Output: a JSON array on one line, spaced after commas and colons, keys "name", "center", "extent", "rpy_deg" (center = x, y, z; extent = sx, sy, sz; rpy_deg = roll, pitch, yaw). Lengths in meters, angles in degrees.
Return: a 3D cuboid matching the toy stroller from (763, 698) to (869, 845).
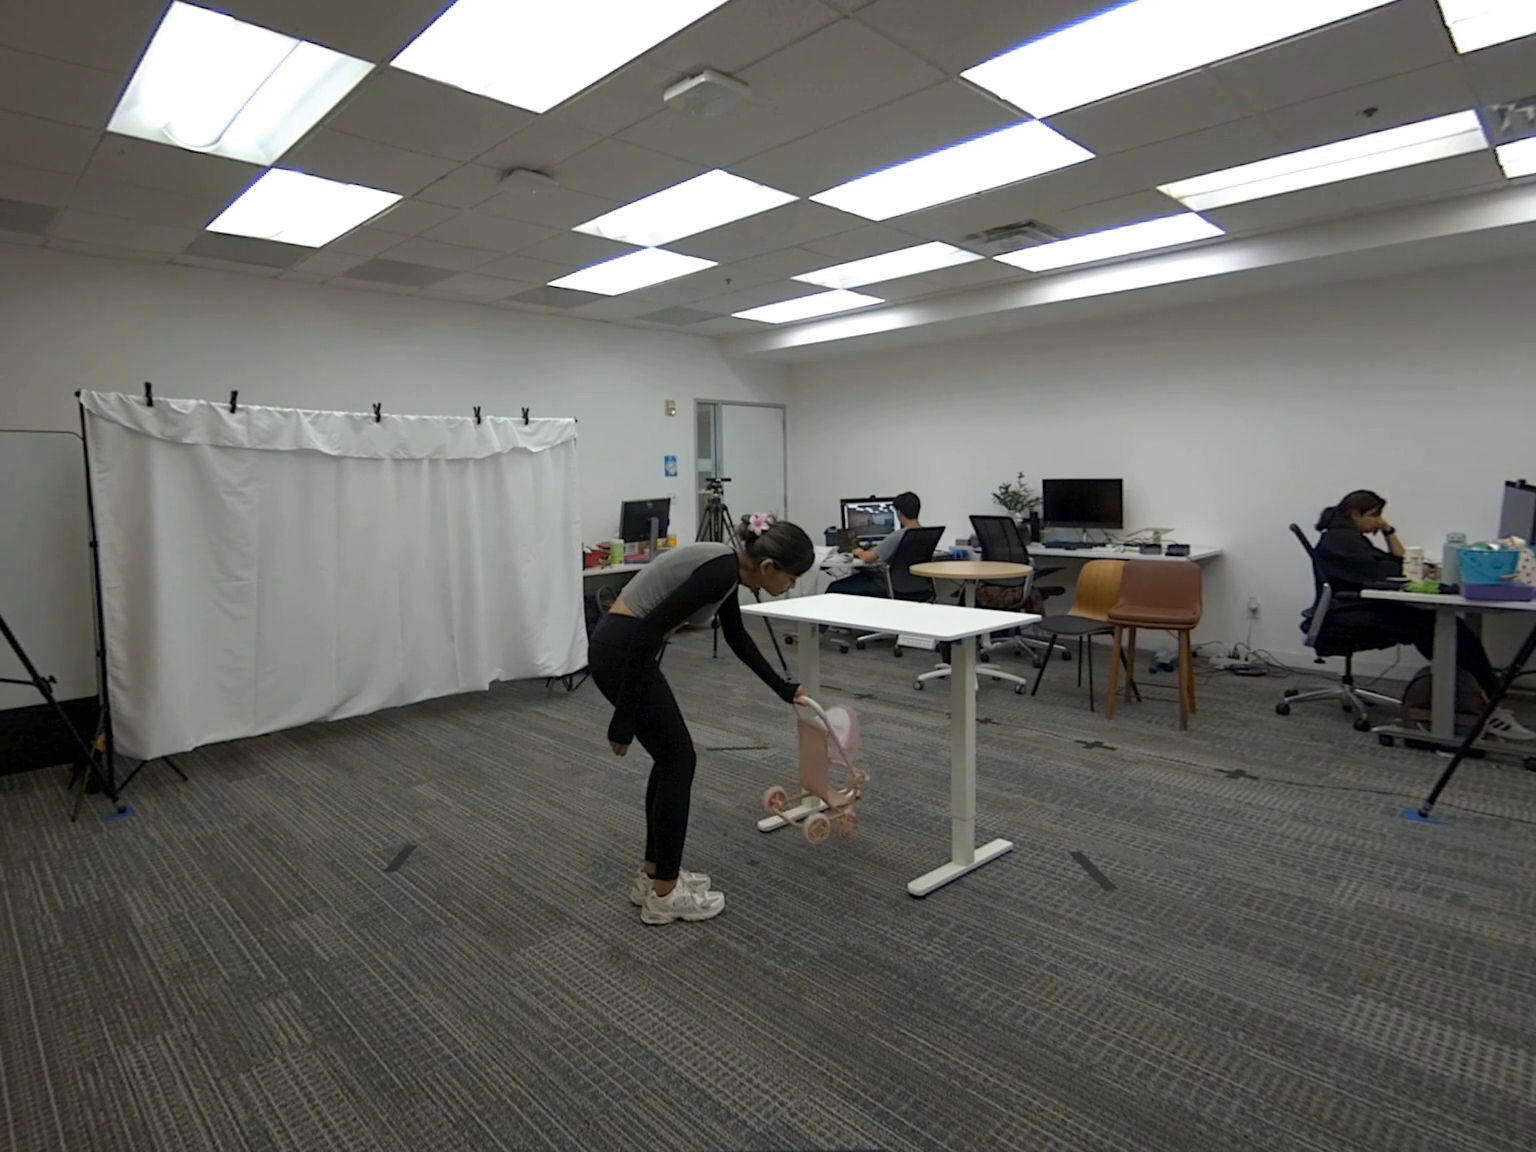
[{"name": "toy stroller", "center": [0.208, 0.695, 3.049], "extent": [0.332, 0.534, 0.289], "rpy_deg": [6, 3, -28]}]
